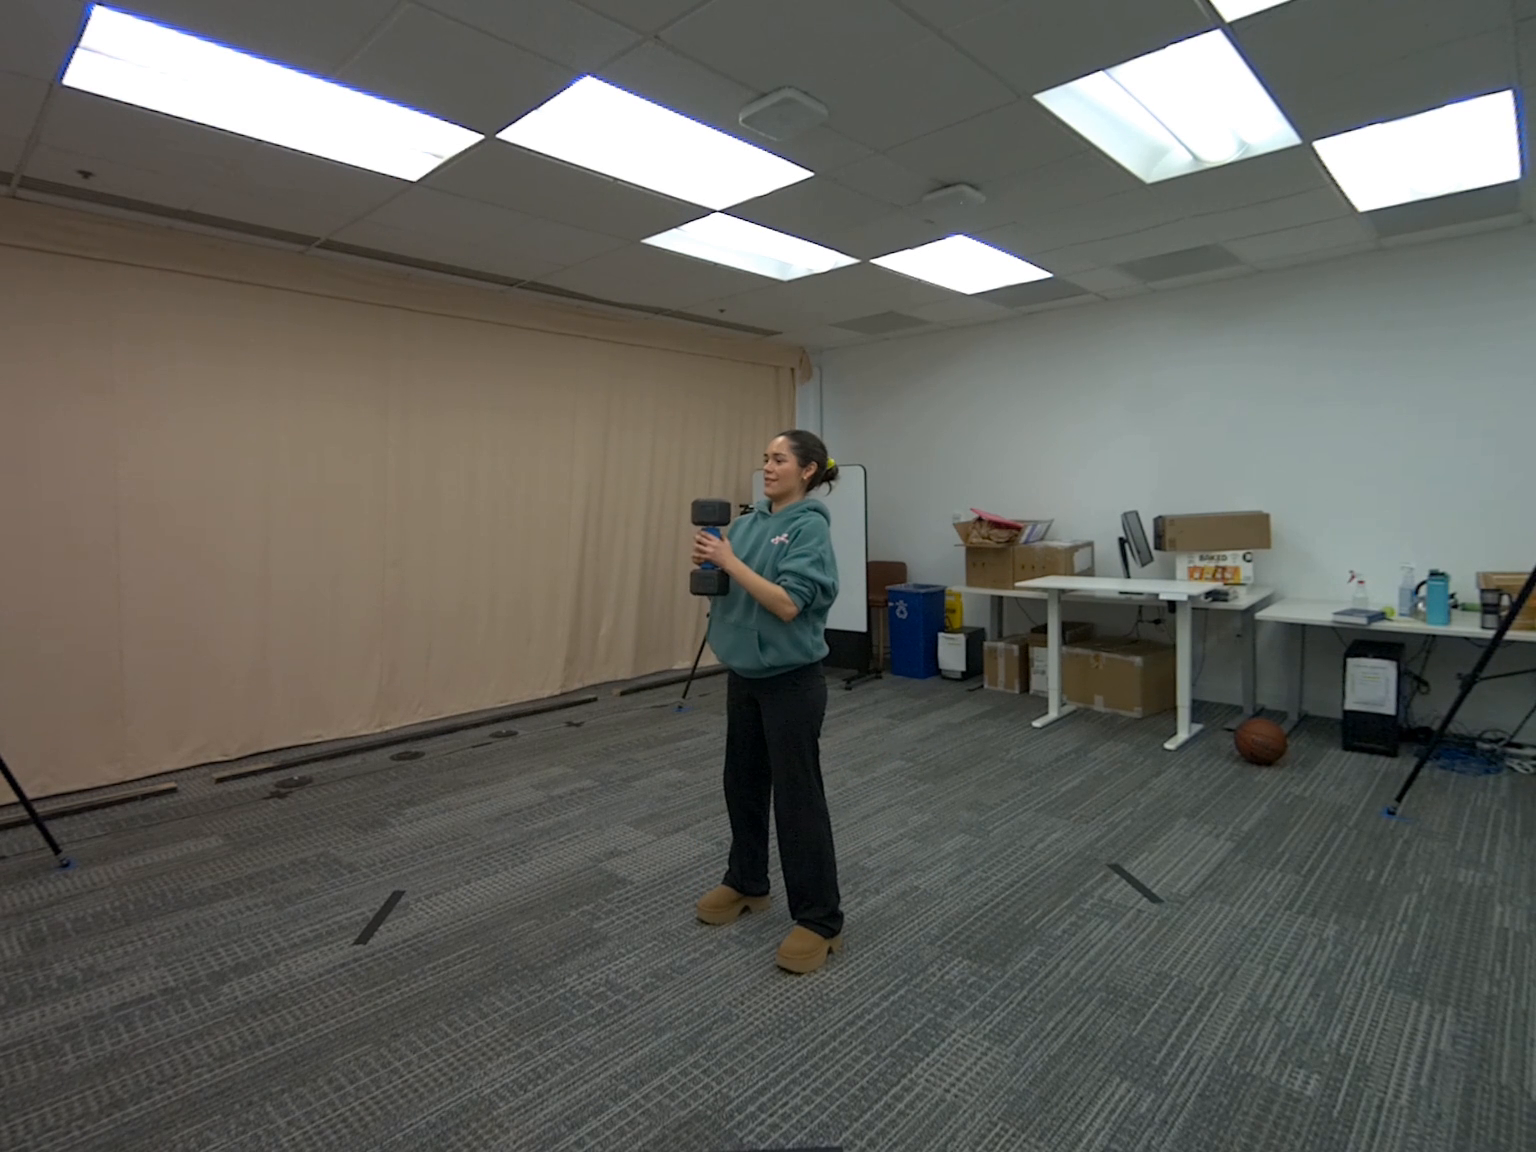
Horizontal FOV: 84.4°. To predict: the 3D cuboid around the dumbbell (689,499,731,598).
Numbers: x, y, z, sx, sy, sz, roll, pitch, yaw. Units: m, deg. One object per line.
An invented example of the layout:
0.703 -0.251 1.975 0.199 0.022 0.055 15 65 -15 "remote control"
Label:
-0.171 -0.076 2.557 0.123 0.294 0.108 0 -1 3 "dumbbell"
